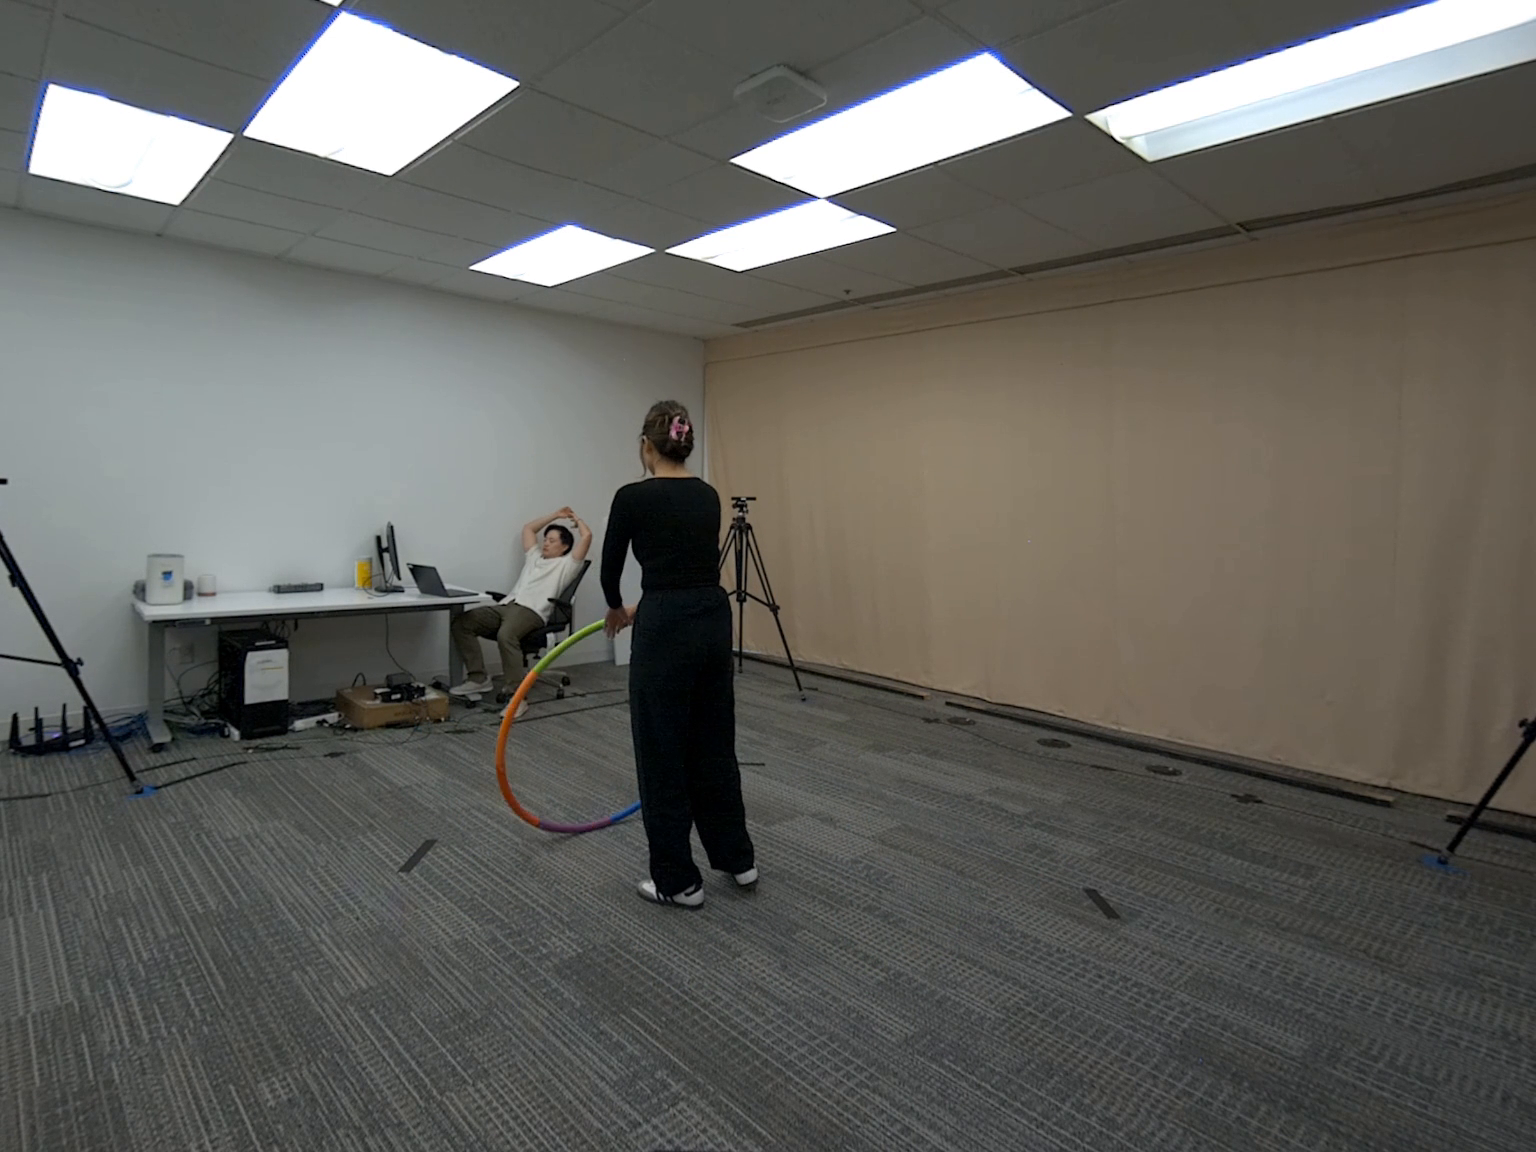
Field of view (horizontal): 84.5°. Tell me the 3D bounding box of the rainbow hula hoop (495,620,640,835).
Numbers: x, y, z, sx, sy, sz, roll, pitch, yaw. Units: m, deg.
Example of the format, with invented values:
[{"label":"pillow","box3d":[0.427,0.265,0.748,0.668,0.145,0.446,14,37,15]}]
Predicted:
[{"label":"rainbow hula hoop","box3d":[-0.628,0.600,3.396,0.956,0.970,0.037,-2,22,-42]}]
